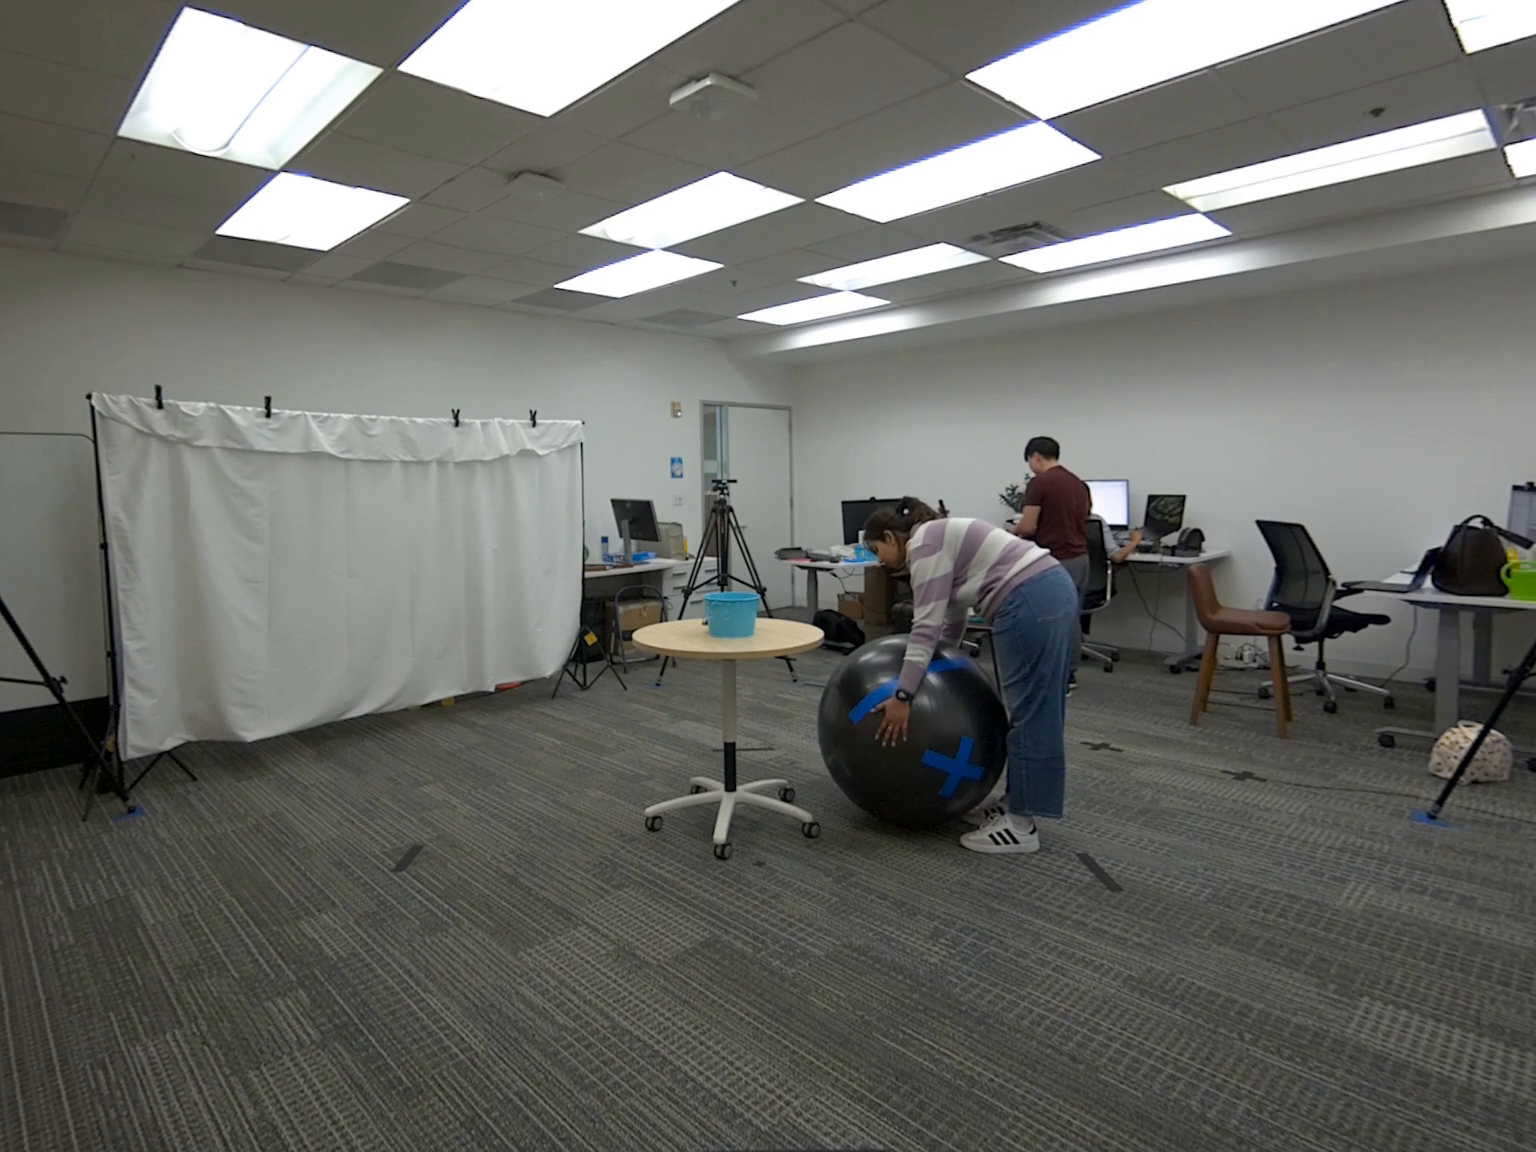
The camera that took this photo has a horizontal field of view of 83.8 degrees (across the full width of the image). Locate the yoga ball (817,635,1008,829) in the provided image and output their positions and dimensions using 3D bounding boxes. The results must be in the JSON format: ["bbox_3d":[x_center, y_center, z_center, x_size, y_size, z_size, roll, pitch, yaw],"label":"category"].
[{"bbox_3d":[0.581,0.623,3.465,0.757,0.755,0.762,-1,5,-2],"label":"yoga ball"}]
